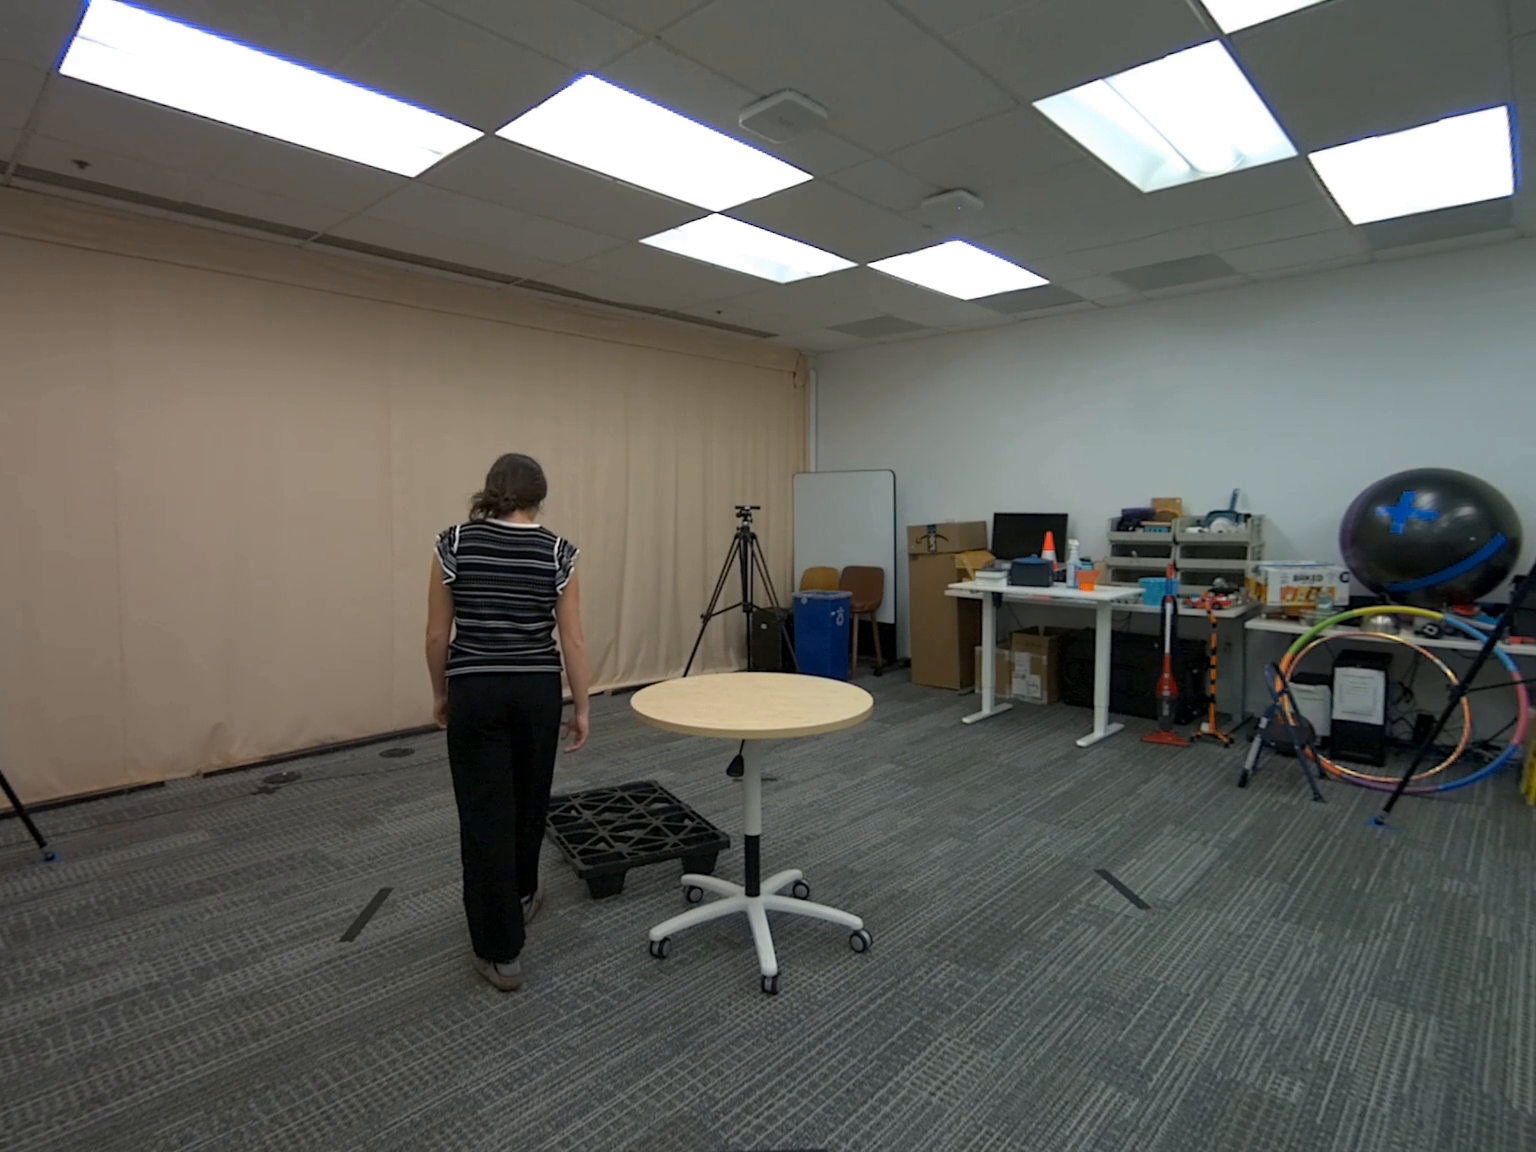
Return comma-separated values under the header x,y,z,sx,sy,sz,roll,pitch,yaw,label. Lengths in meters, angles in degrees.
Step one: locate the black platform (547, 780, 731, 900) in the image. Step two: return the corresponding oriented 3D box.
x,y,z,sx,sy,sz,roll,pitch,yaw,label
-0.591,1.047,3.413,0.590,0.143,0.828,-2,5,-28,black platform
